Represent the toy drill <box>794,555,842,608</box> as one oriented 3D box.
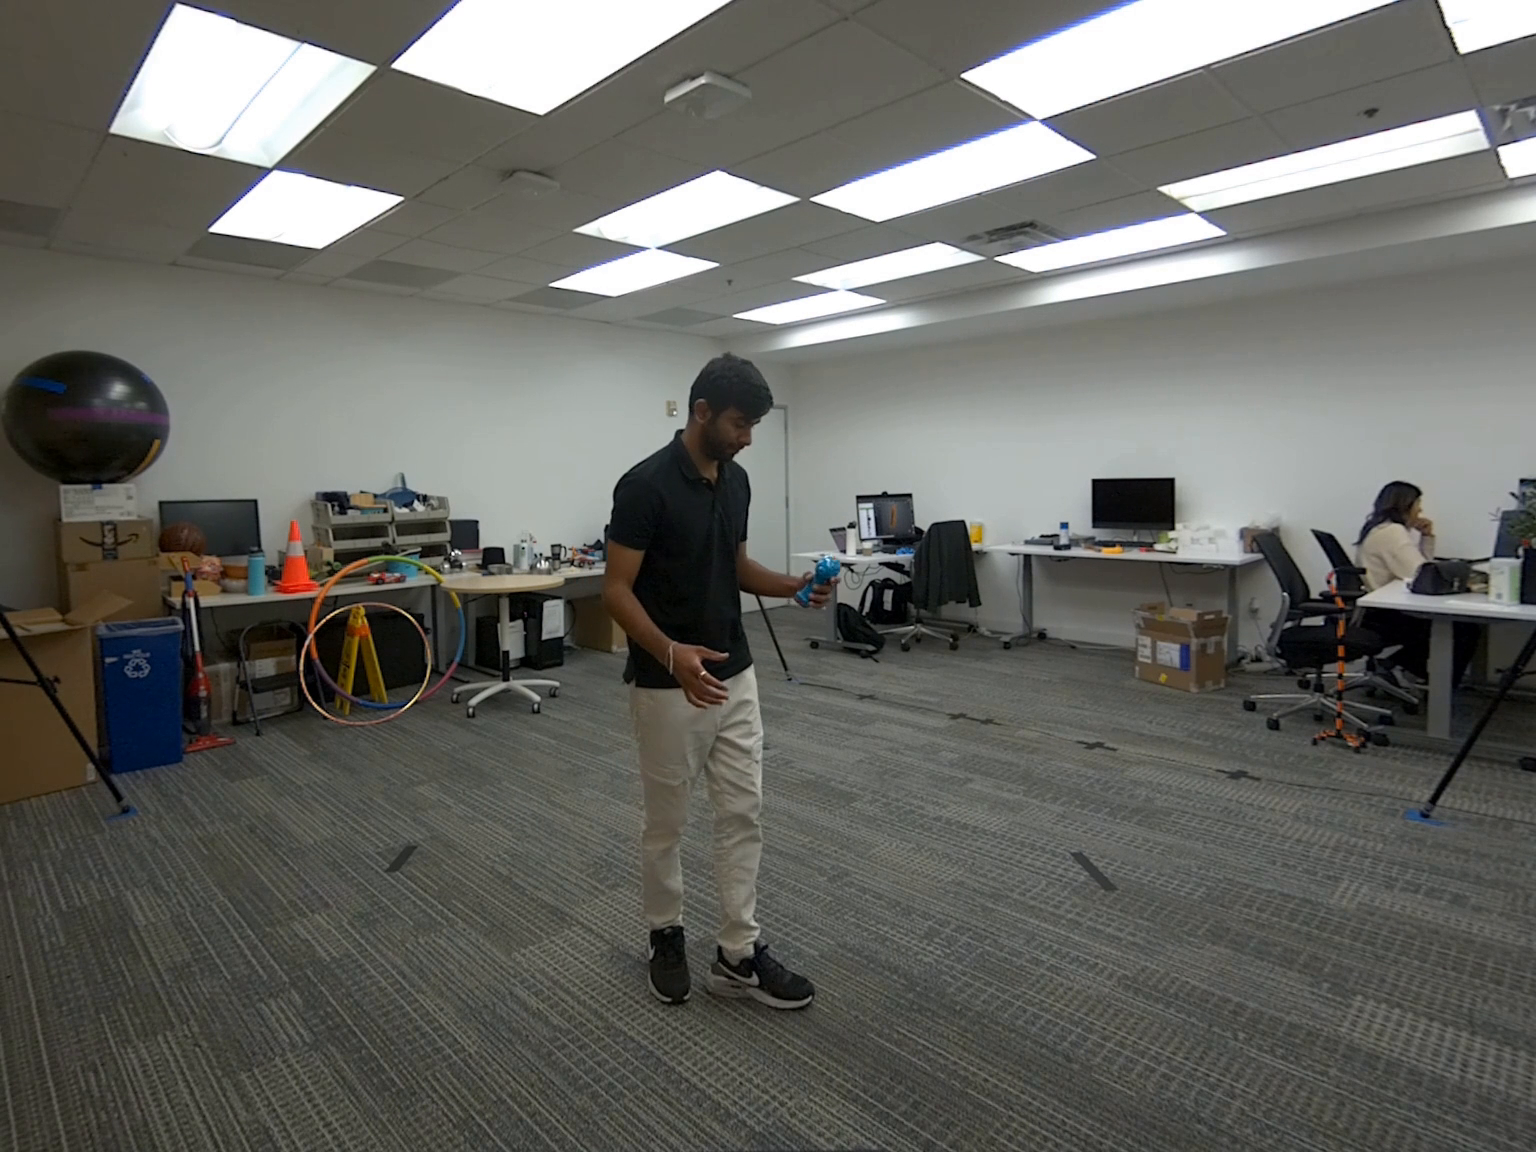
[{"bbox_3d":[0.139,-0.005,2.264,0.146,0.061,0.169,-45,-3,20],"label":"toy drill"}]
